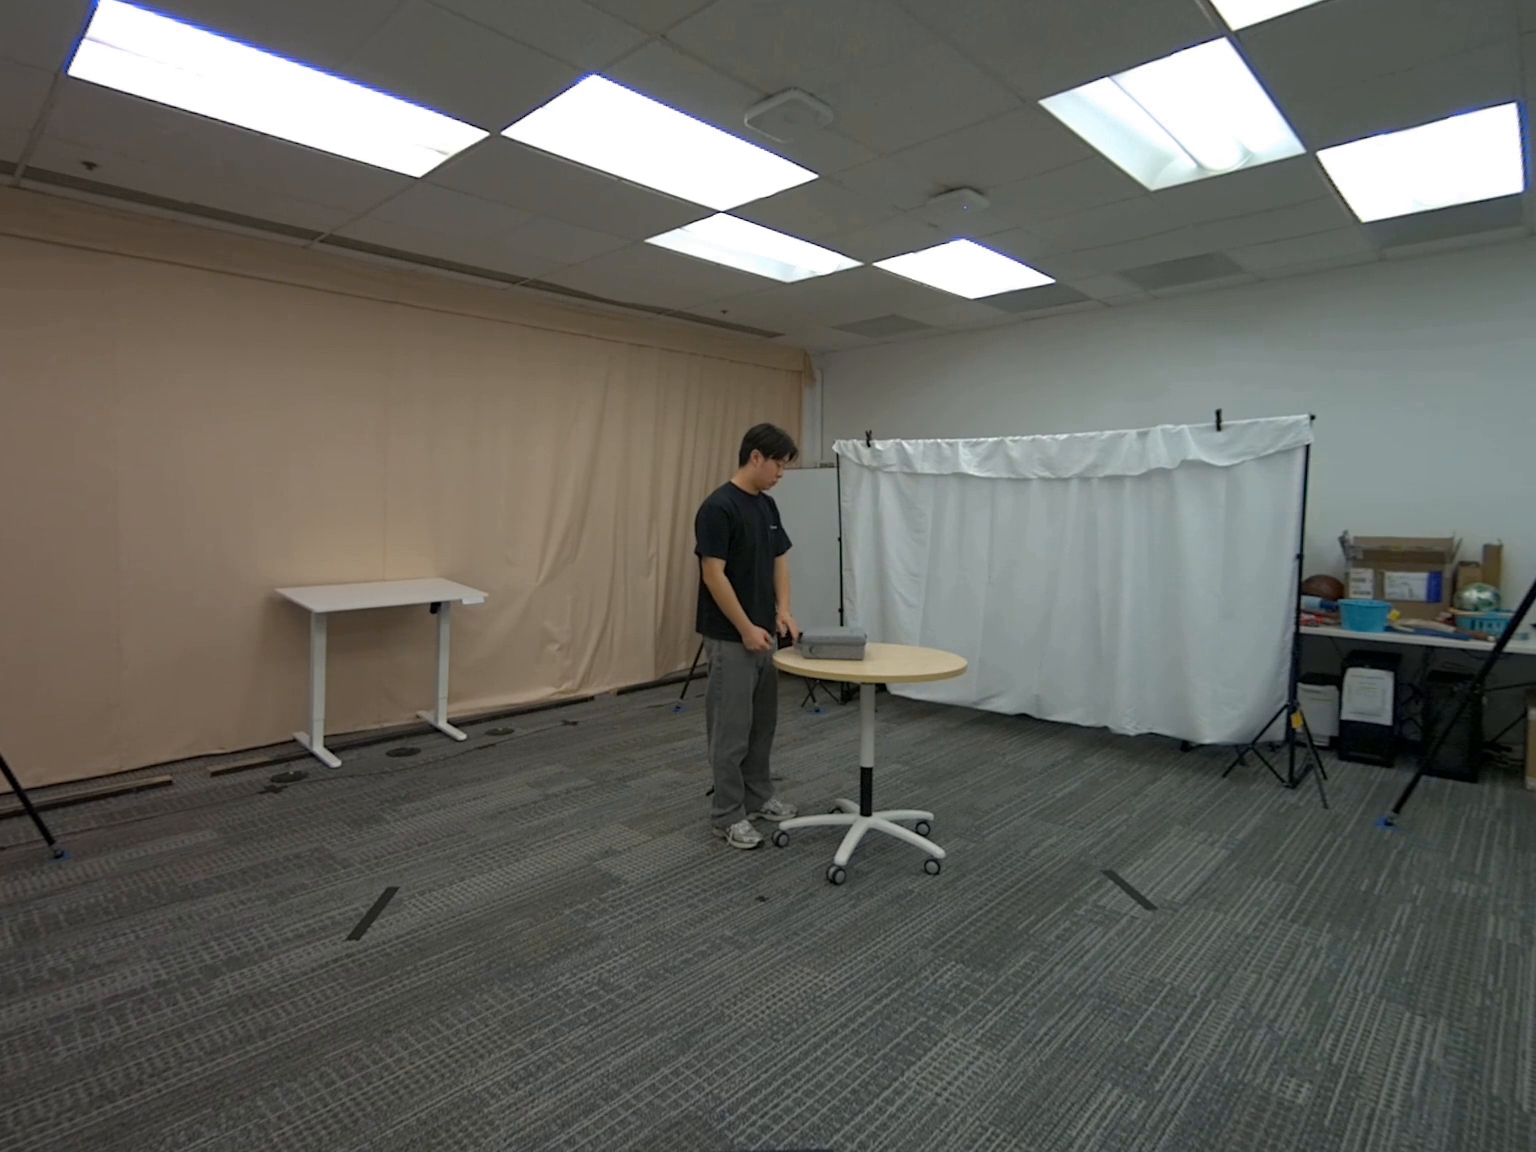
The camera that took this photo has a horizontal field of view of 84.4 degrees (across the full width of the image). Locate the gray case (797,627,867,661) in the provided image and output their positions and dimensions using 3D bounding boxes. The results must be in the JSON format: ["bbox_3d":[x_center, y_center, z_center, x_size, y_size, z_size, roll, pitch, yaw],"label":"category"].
[{"bbox_3d":[0.254,0.268,3.420,0.289,0.103,0.262,1,6,6],"label":"gray case"}]
